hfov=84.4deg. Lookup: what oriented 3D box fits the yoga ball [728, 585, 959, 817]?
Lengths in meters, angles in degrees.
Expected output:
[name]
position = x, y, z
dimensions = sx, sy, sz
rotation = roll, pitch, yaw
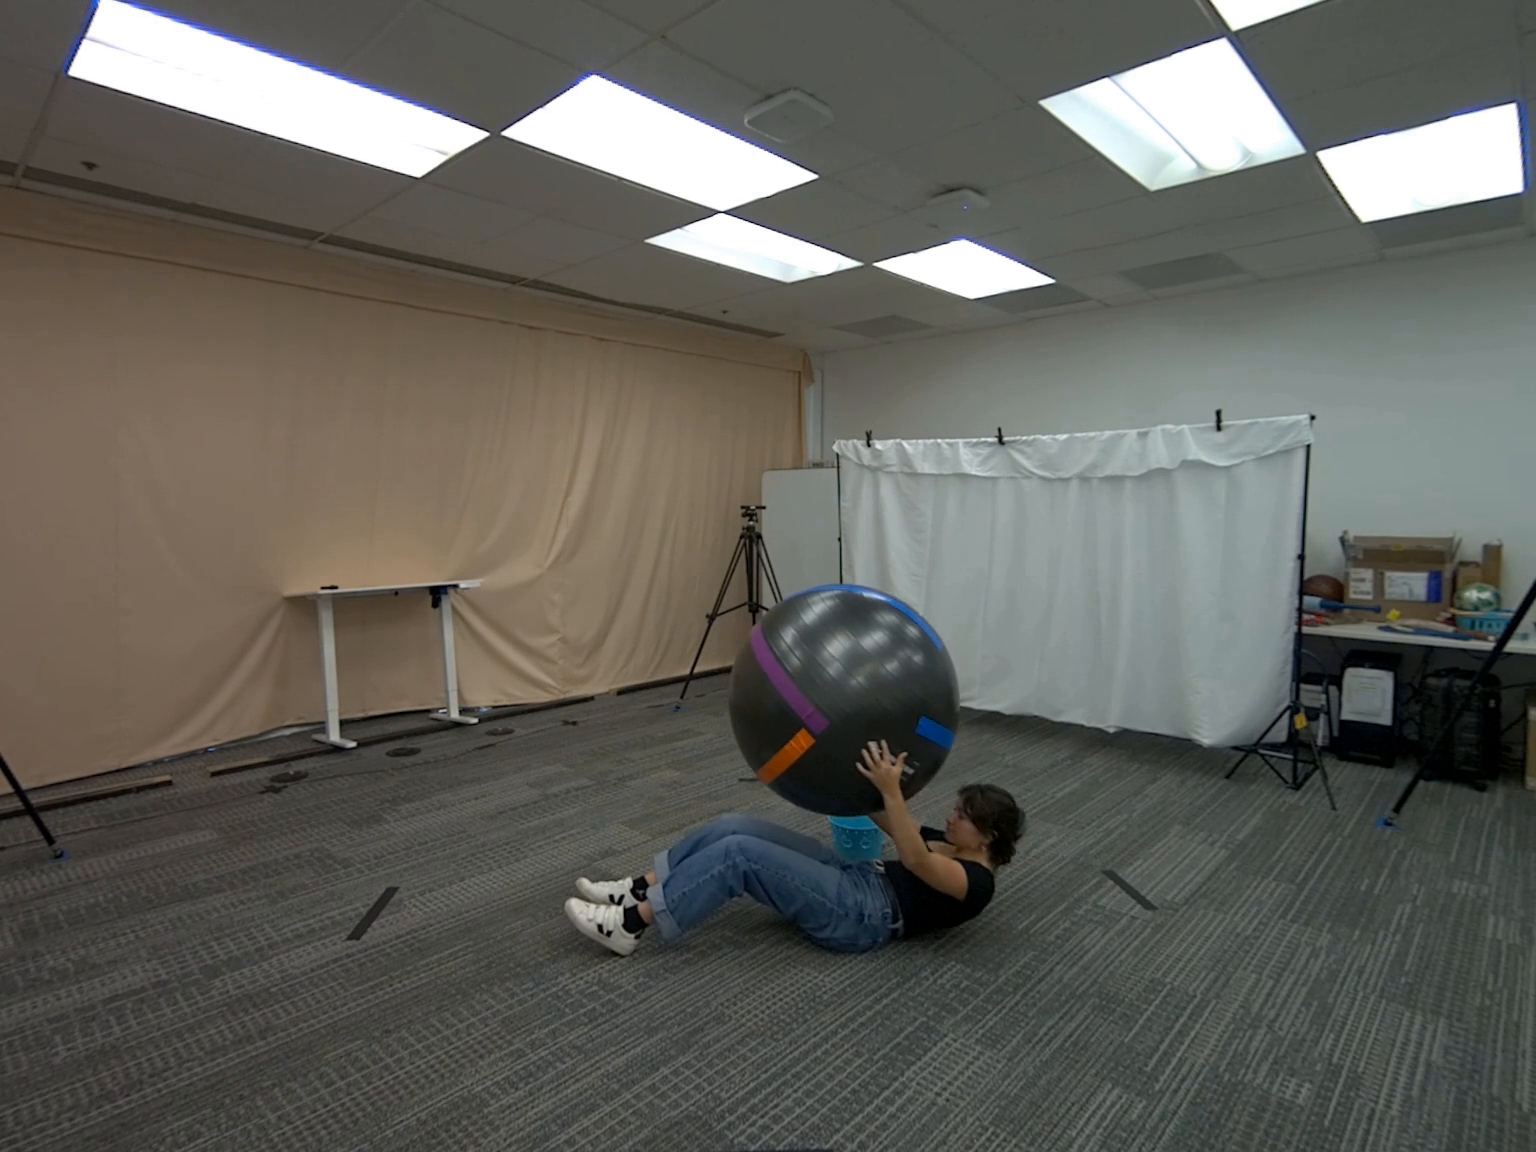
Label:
[yoga ball]
position = 0.256, 0.410, 2.793
dimensions = 0.757, 0.756, 0.761
rotation = 0, 4, -2
